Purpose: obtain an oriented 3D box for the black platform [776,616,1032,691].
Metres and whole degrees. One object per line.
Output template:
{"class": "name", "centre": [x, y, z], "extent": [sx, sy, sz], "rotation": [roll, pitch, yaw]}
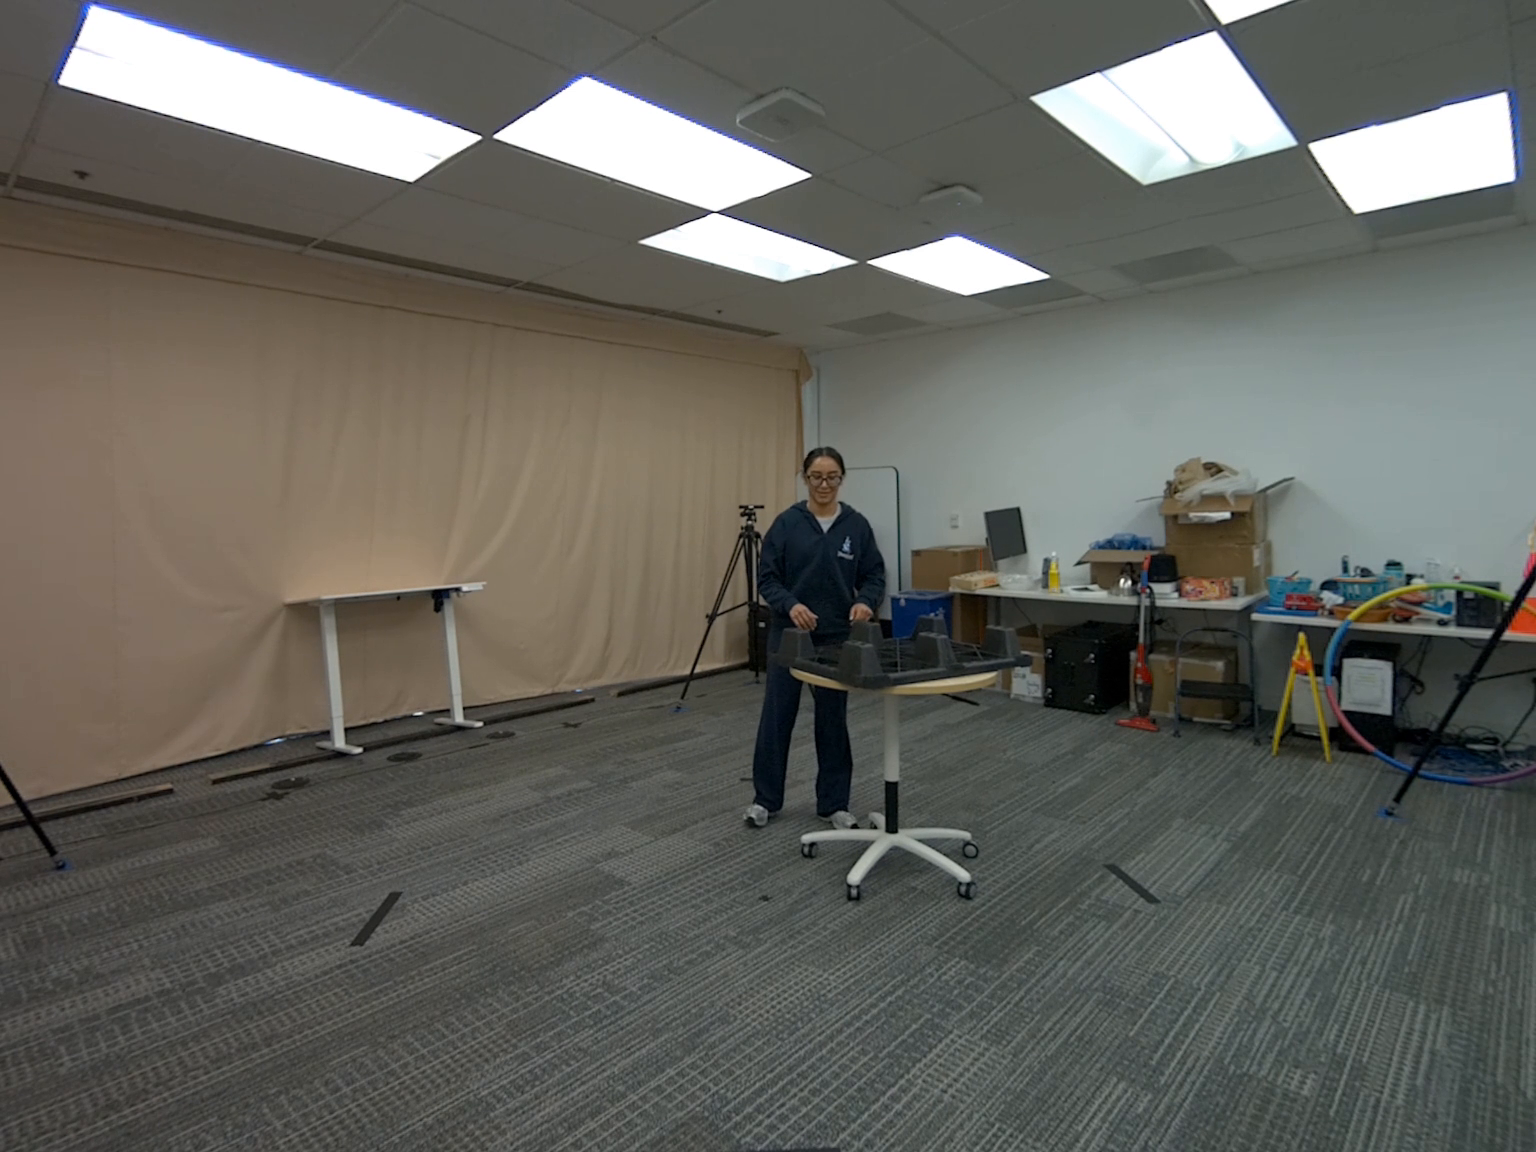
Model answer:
{"class": "black platform", "centre": [0.498, 0.267, 3.173], "extent": [0.784, 0.143, 0.623], "rotation": [-4, 6, -30]}
